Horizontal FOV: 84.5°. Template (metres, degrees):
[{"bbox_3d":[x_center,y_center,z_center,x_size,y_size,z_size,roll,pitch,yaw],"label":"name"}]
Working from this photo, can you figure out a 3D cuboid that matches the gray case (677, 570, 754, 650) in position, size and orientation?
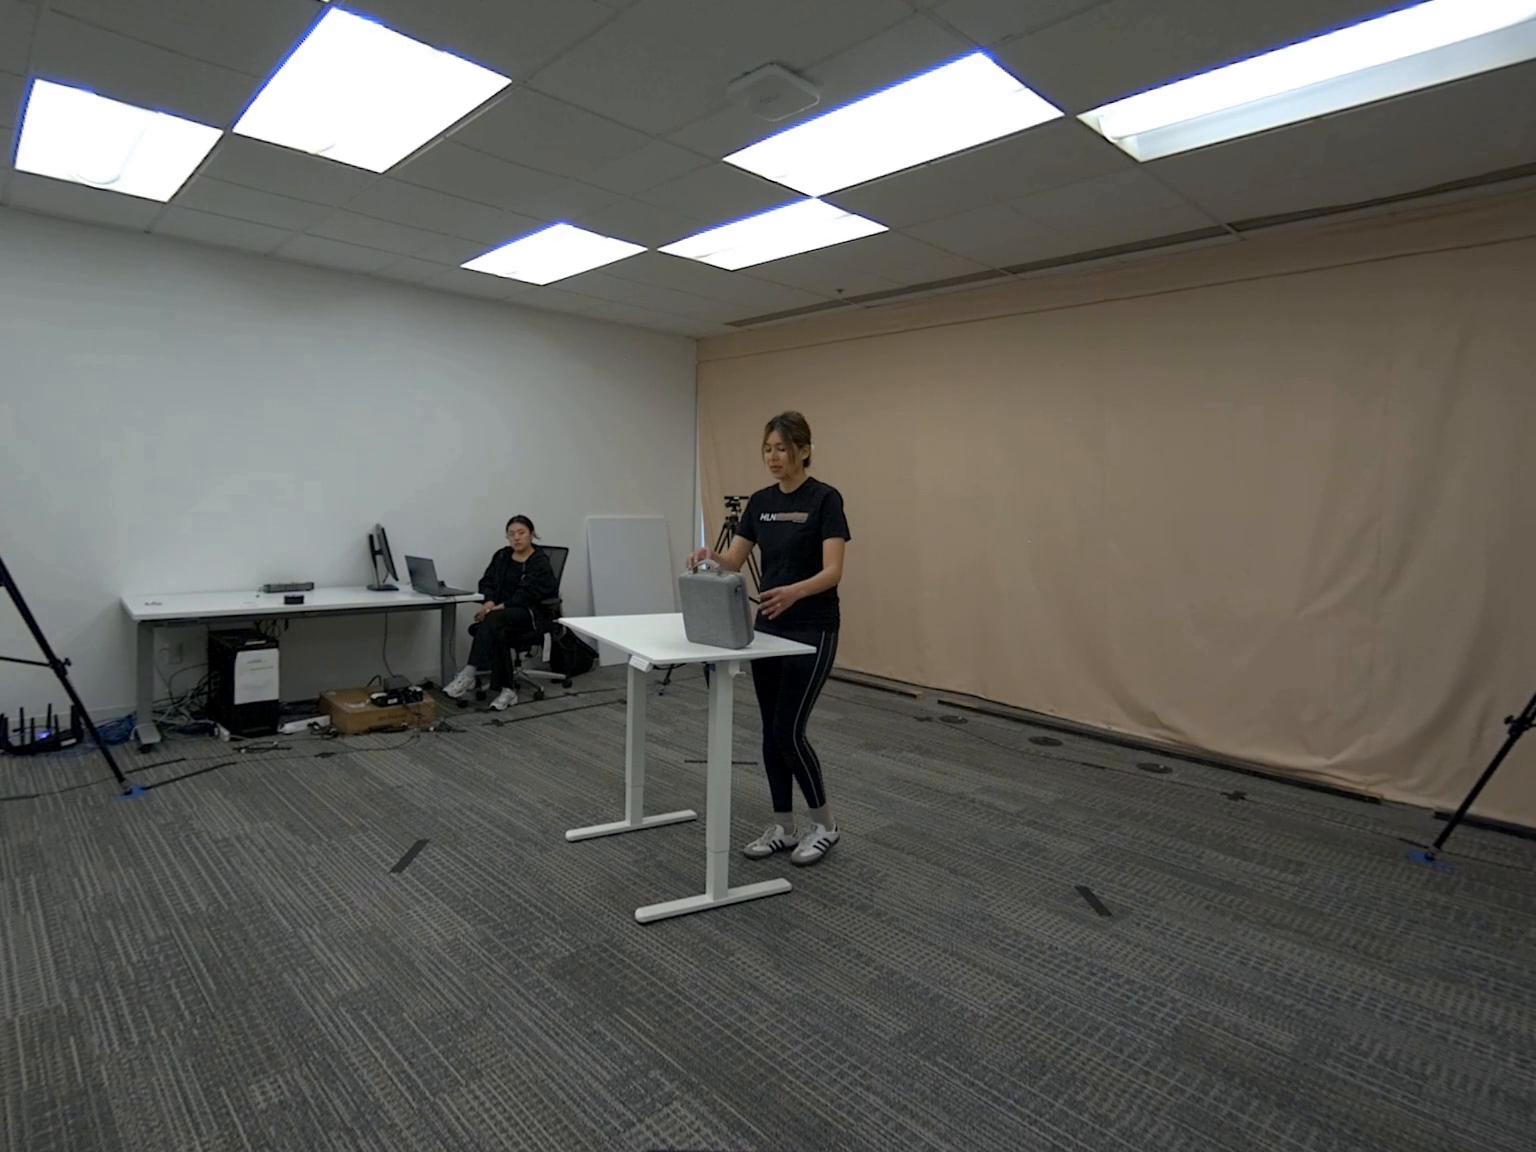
[{"bbox_3d":[-0.184,0.106,2.867,0.263,0.258,0.103,3,16,44],"label":"gray case"}]
